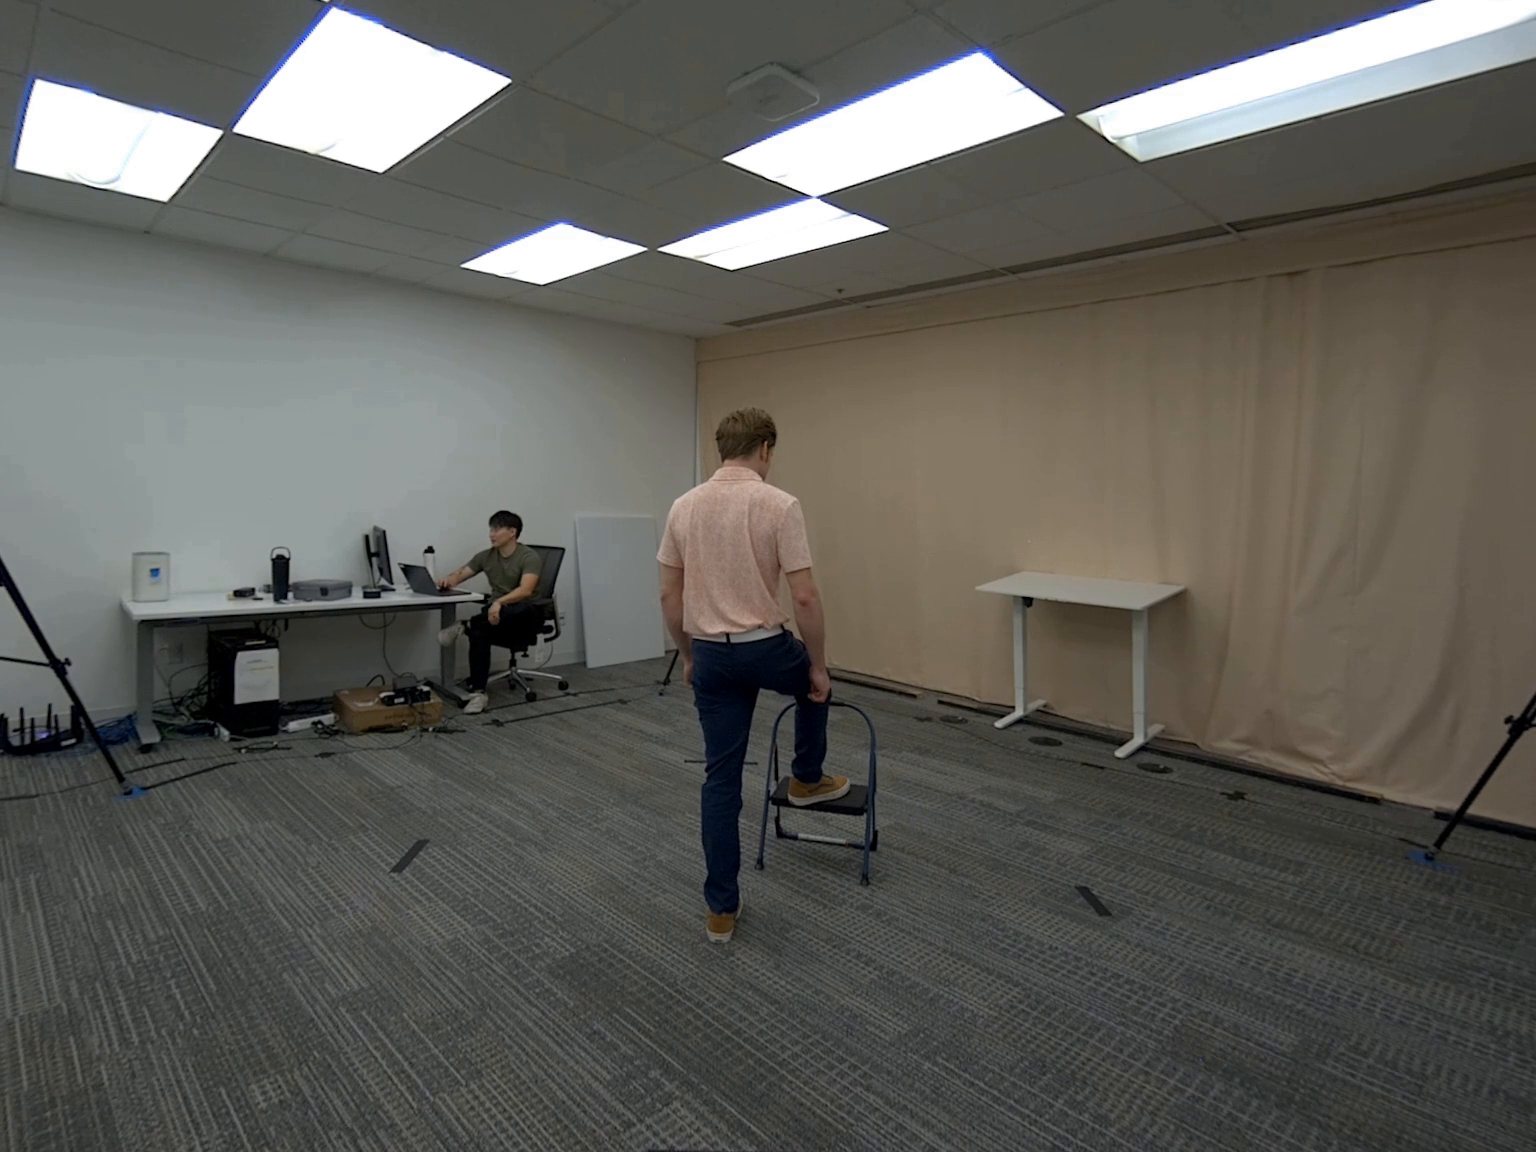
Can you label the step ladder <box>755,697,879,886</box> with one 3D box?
[{"bbox_3d":[0.201,0.798,3.254,0.436,0.605,0.345,2,3,15],"label":"step ladder"}]
